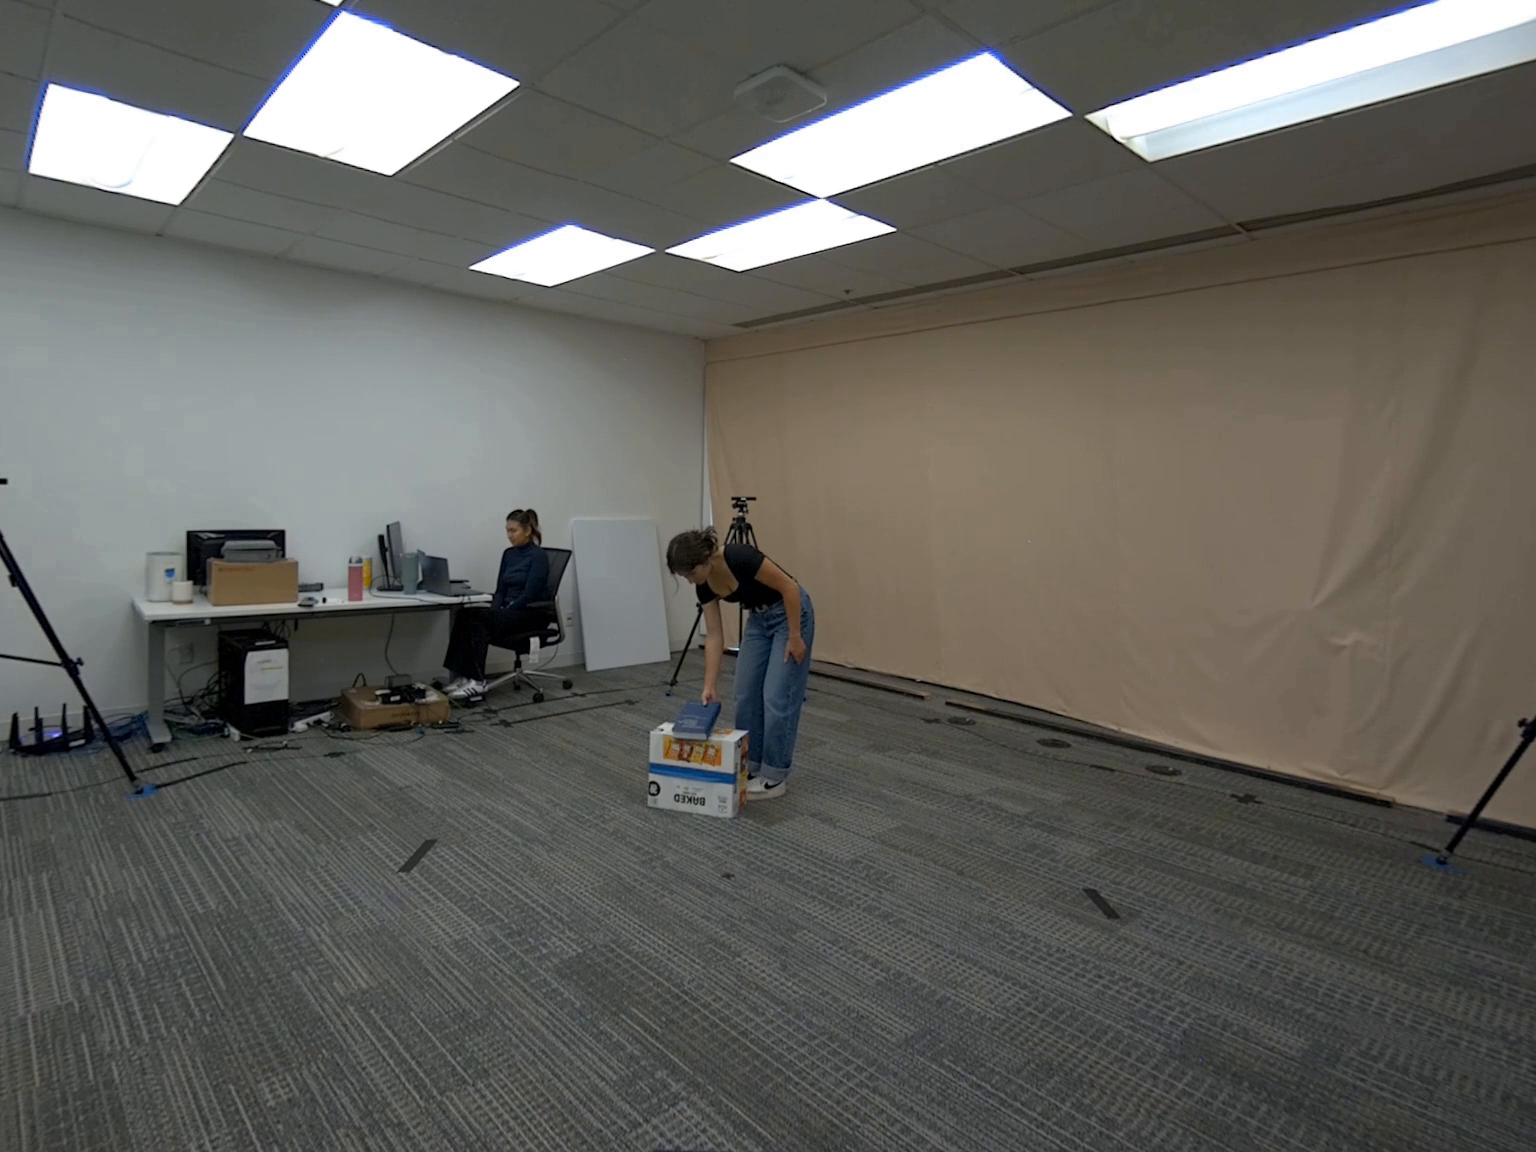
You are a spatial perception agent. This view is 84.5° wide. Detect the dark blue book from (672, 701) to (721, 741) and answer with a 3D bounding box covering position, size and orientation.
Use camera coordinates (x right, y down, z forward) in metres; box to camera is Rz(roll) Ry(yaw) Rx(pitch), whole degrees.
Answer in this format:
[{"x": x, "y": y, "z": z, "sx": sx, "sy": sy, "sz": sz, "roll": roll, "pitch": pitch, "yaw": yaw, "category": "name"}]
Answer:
[{"x": -0.334, "y": 0.651, "z": 3.791, "sx": 0.165, "sy": 0.044, "sz": 0.247, "roll": -1, "pitch": 24, "yaw": 11, "category": "dark blue book"}]
